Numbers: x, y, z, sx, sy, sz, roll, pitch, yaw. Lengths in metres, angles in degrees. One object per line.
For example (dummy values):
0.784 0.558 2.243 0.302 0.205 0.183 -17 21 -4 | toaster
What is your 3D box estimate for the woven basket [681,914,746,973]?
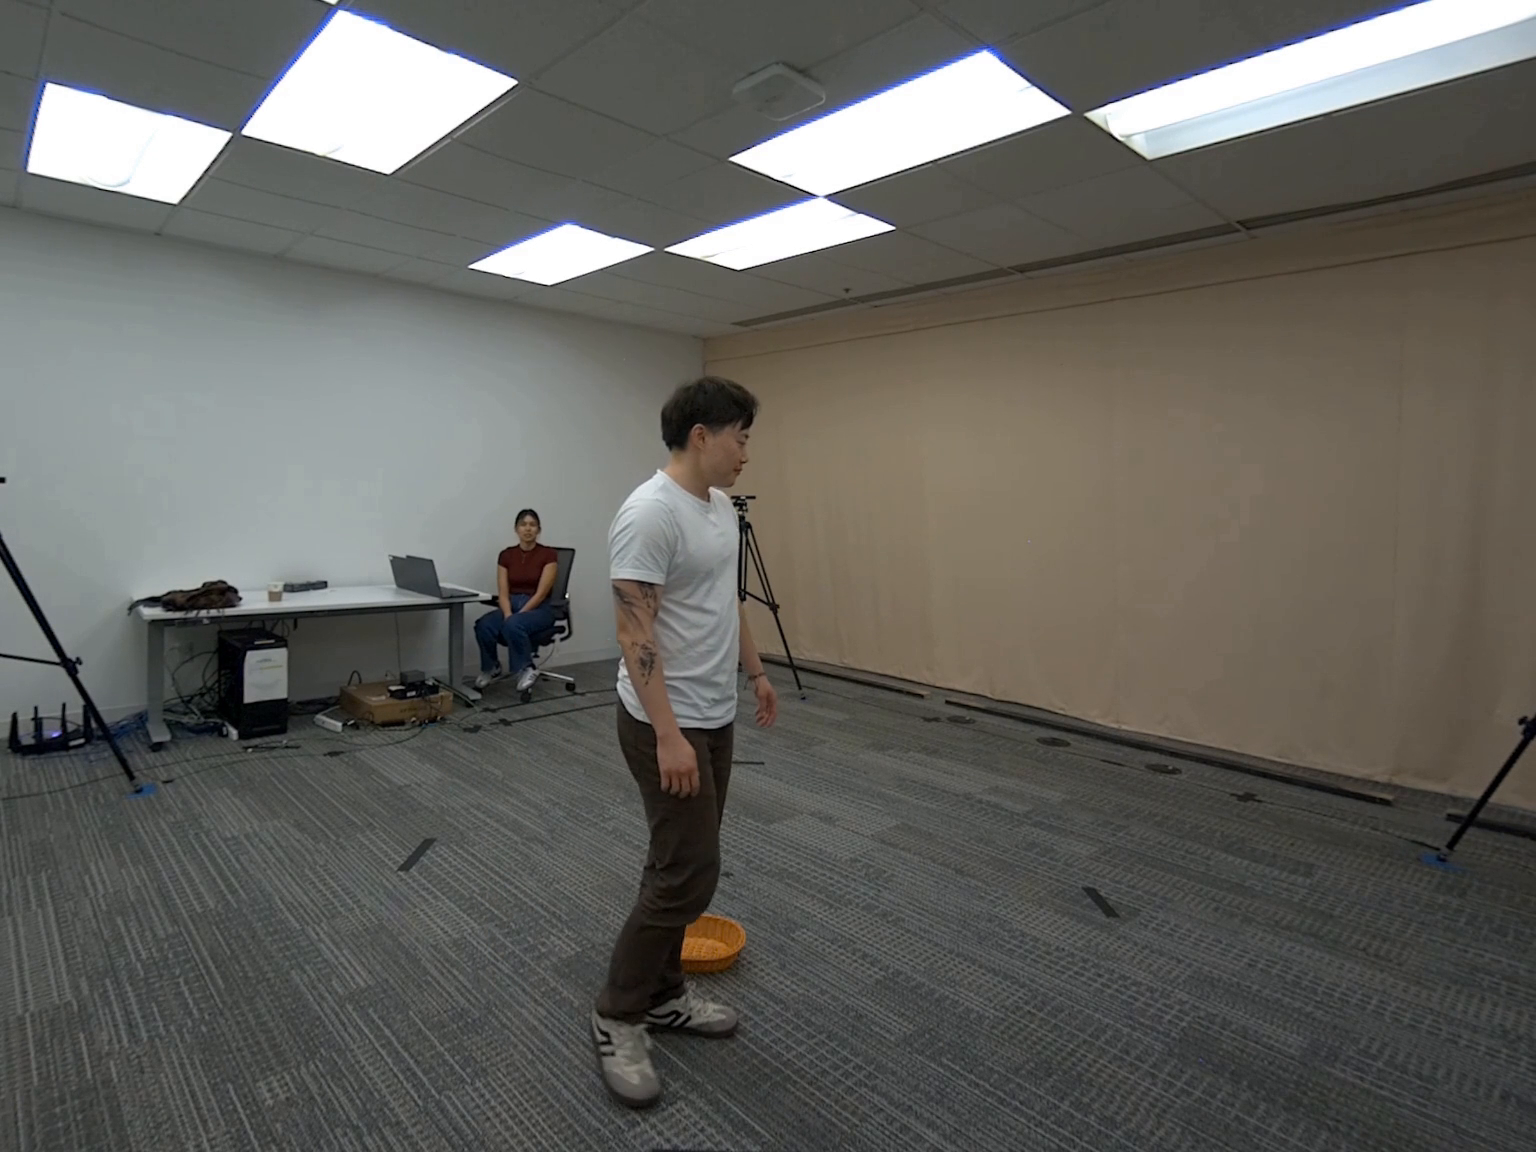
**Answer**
-0.246 1.115 2.540 0.352 0.073 0.252 2 6 6 | woven basket
